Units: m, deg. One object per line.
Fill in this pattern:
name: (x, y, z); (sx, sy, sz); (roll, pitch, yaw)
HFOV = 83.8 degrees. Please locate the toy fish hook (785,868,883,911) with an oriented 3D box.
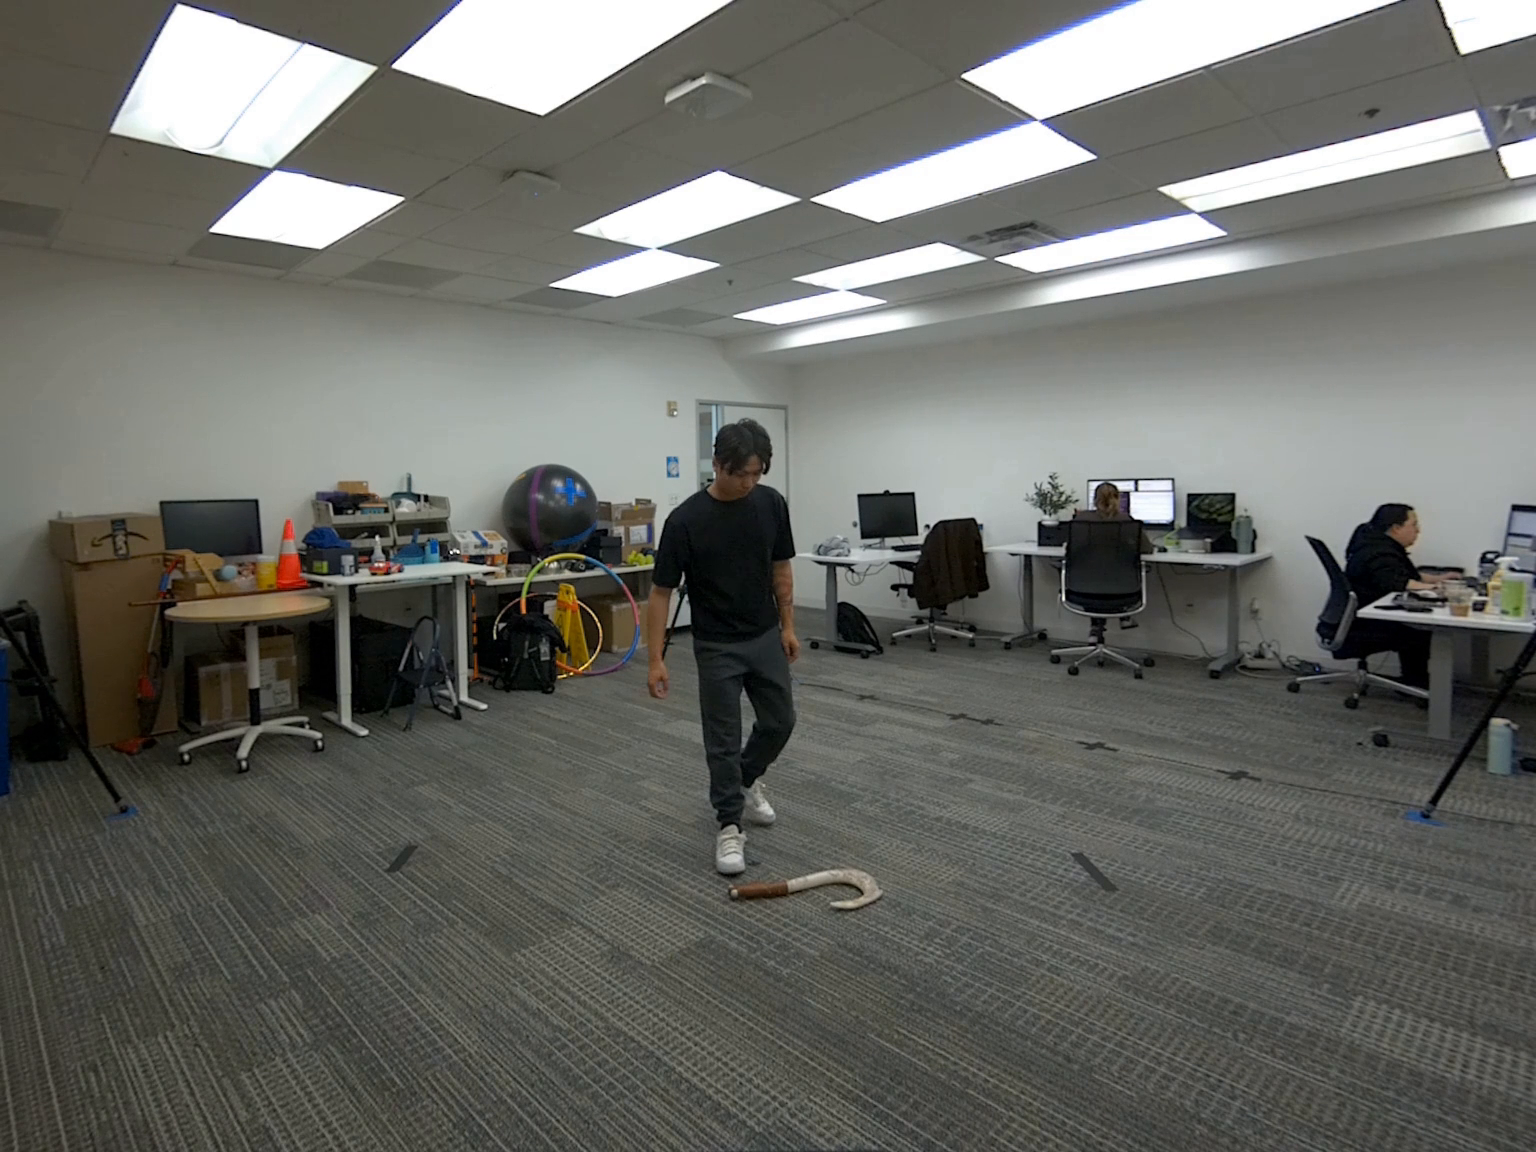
toy fish hook: (0.128, 1.048, 2.836); (0.501, 0.048, 0.228); (-2, 5, -11)
